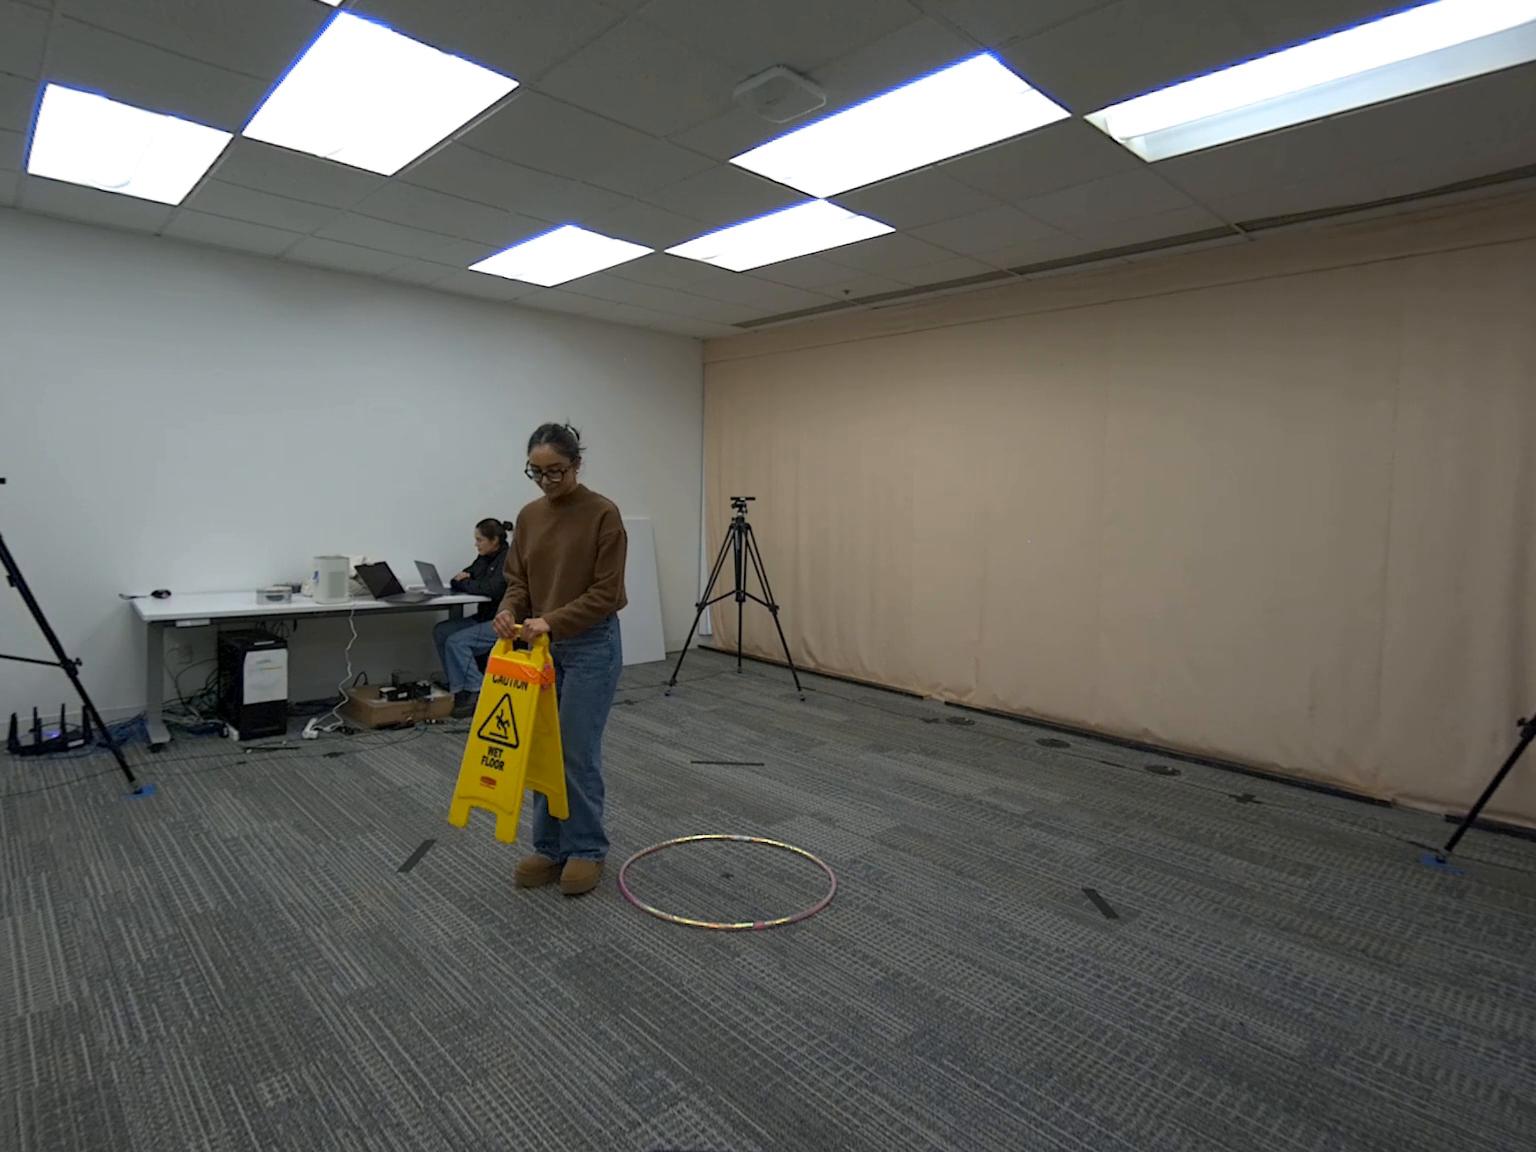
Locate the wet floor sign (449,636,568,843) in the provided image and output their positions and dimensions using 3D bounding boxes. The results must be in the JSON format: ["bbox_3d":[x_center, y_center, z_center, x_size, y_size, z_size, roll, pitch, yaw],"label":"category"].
[{"bbox_3d":[-0.843,0.494,2.760,0.288,0.644,0.284,6,4,27],"label":"wet floor sign"}]
